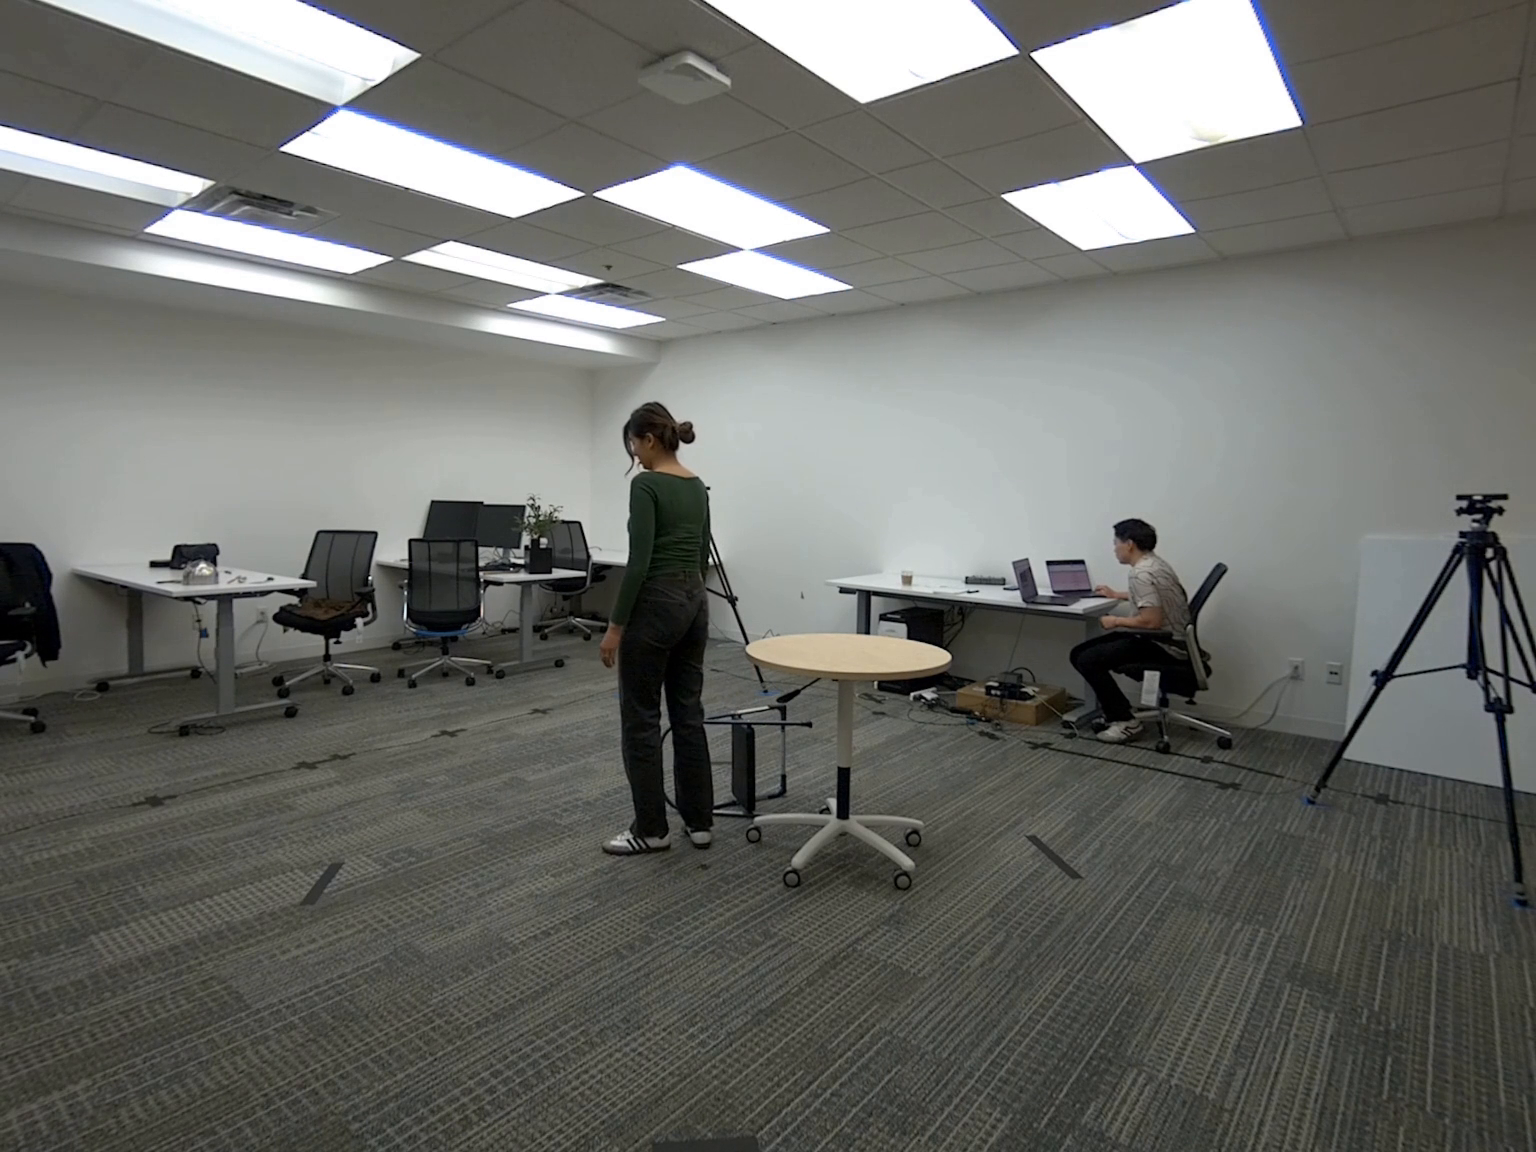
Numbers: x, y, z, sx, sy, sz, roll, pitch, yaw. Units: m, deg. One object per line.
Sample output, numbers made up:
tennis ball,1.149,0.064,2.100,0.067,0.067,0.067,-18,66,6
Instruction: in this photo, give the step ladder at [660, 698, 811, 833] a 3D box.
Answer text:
step ladder,-0.167,0.797,3.632,0.597,0.430,0.355,-2,3,-16
